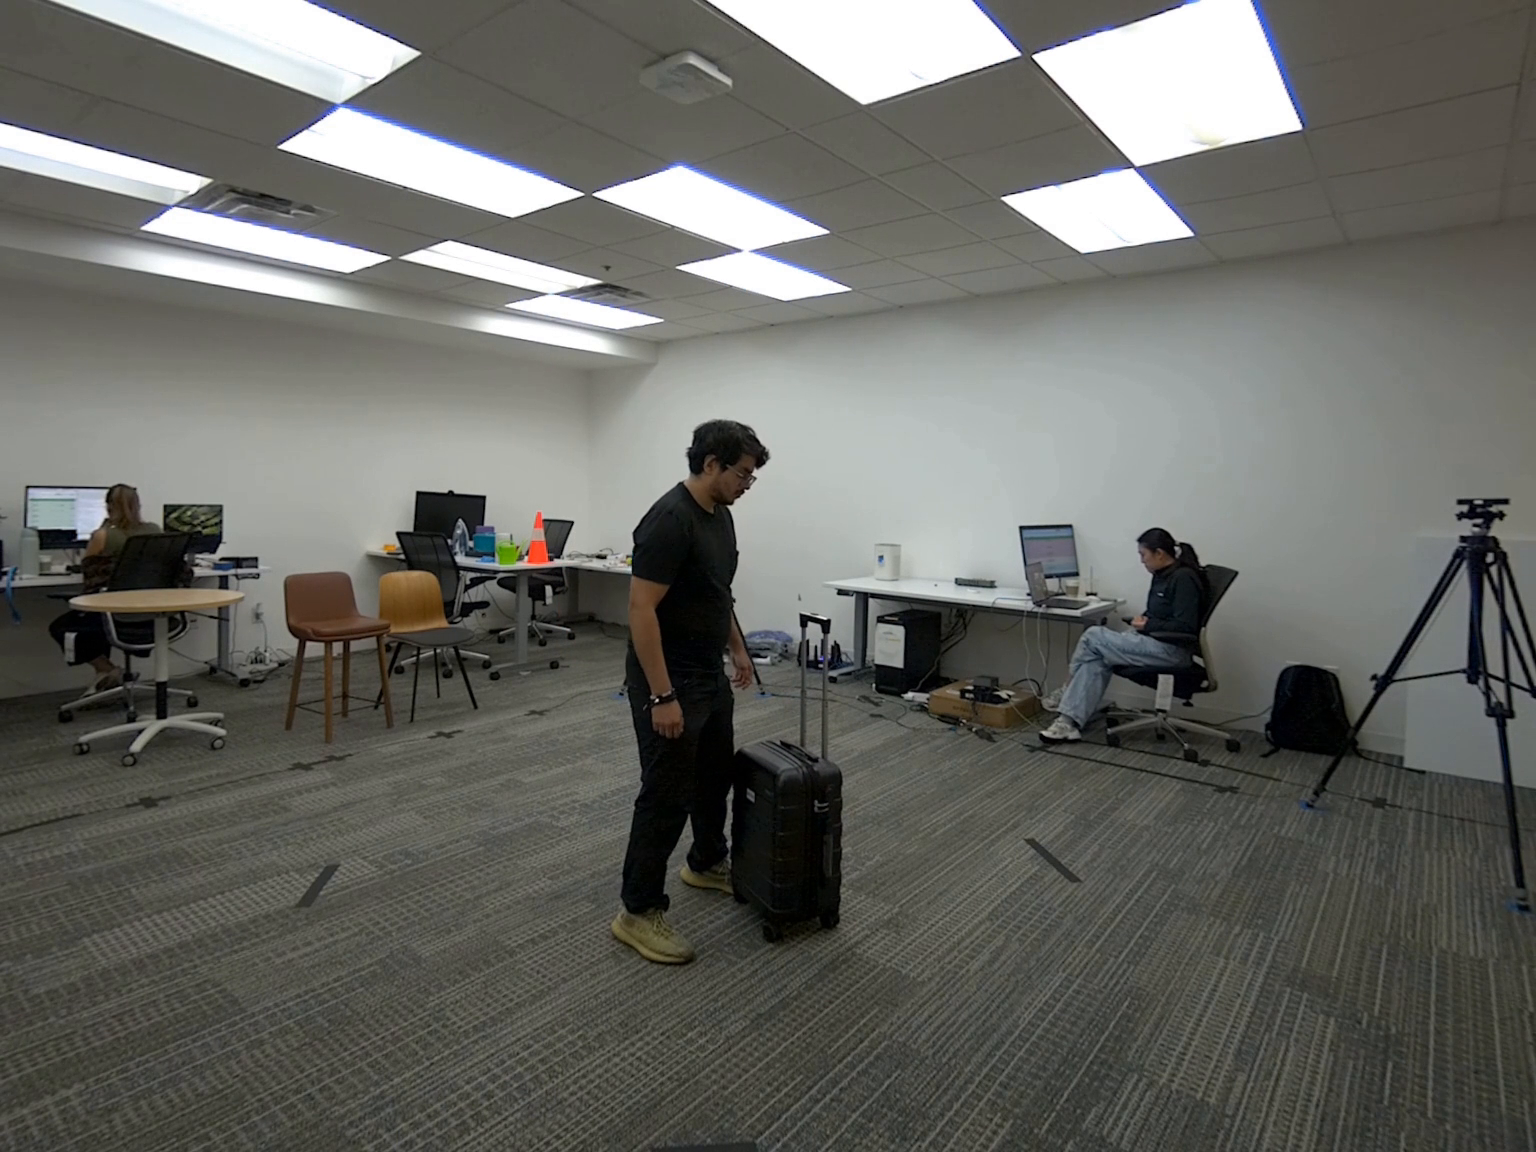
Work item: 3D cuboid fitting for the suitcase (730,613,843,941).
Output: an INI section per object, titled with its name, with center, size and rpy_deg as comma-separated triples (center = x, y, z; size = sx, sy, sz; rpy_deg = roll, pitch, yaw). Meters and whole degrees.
[suitcase]
center = 0.055, 0.630, 2.758
size = 0.251, 0.975, 0.394
rpy_deg = -1, 4, -24
